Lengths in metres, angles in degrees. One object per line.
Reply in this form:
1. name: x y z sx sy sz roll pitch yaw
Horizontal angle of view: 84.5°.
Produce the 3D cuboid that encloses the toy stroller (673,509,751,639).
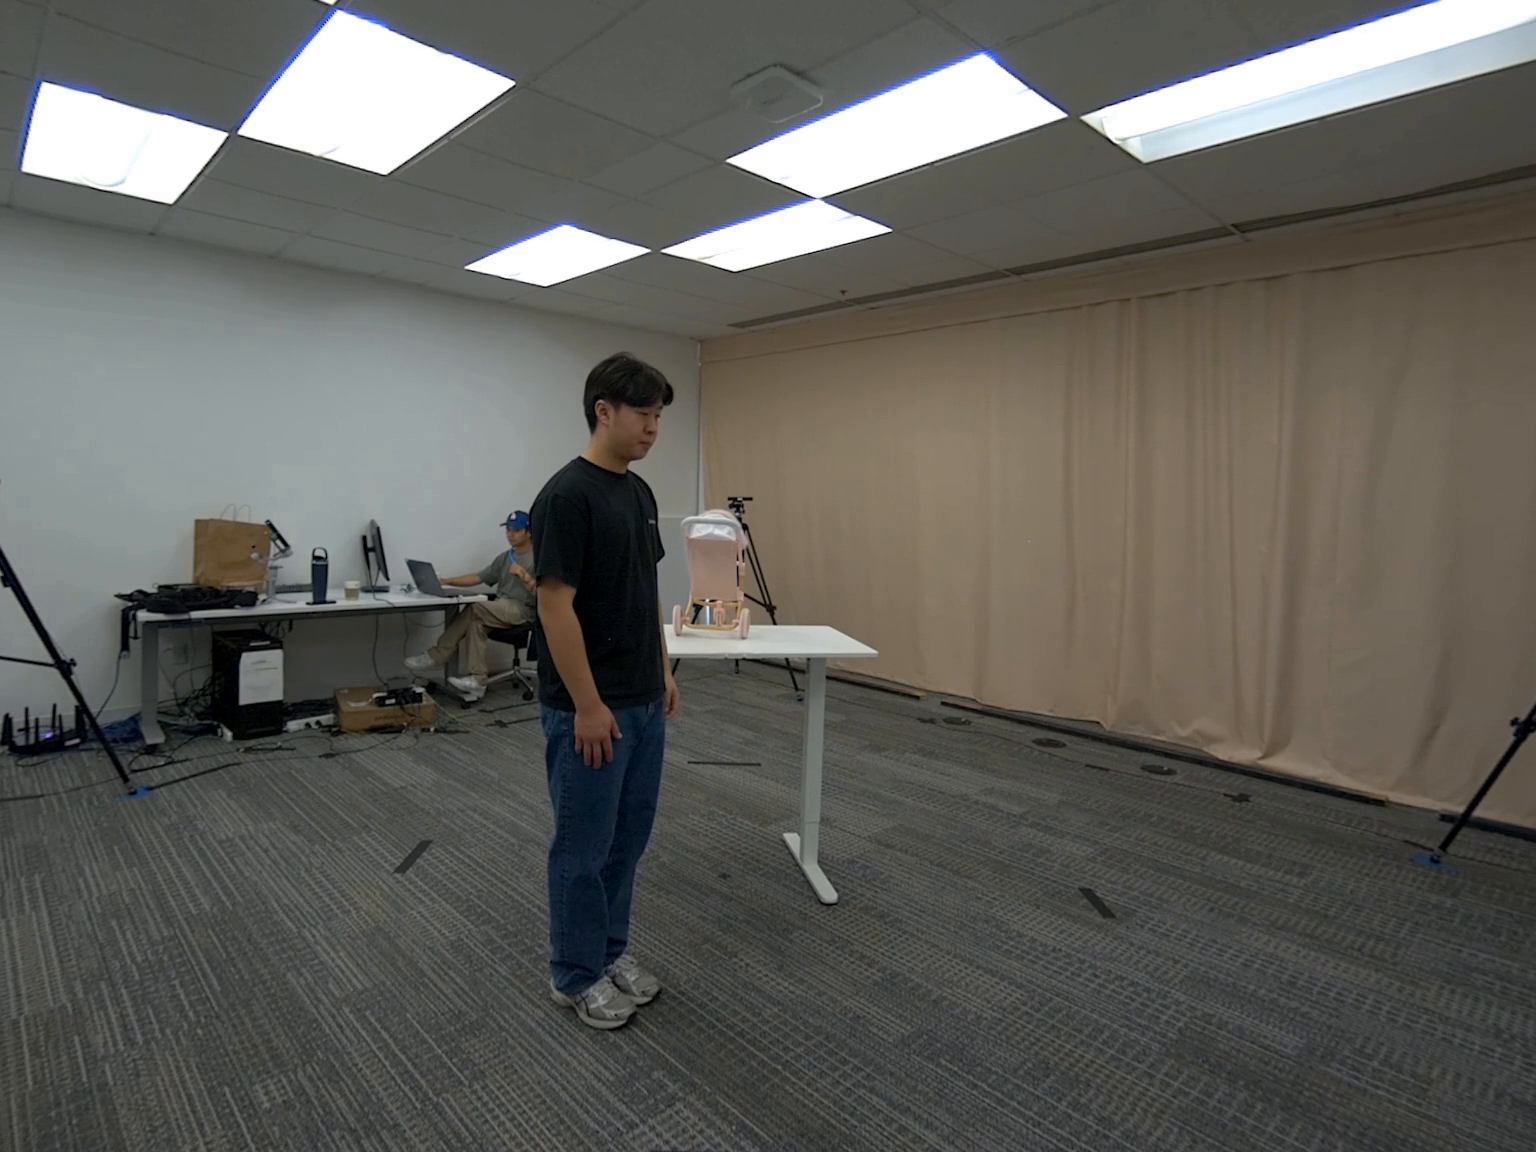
1. toy stroller: -0.198 -0.006 3.149 0.284 0.528 0.343 3 19 9
